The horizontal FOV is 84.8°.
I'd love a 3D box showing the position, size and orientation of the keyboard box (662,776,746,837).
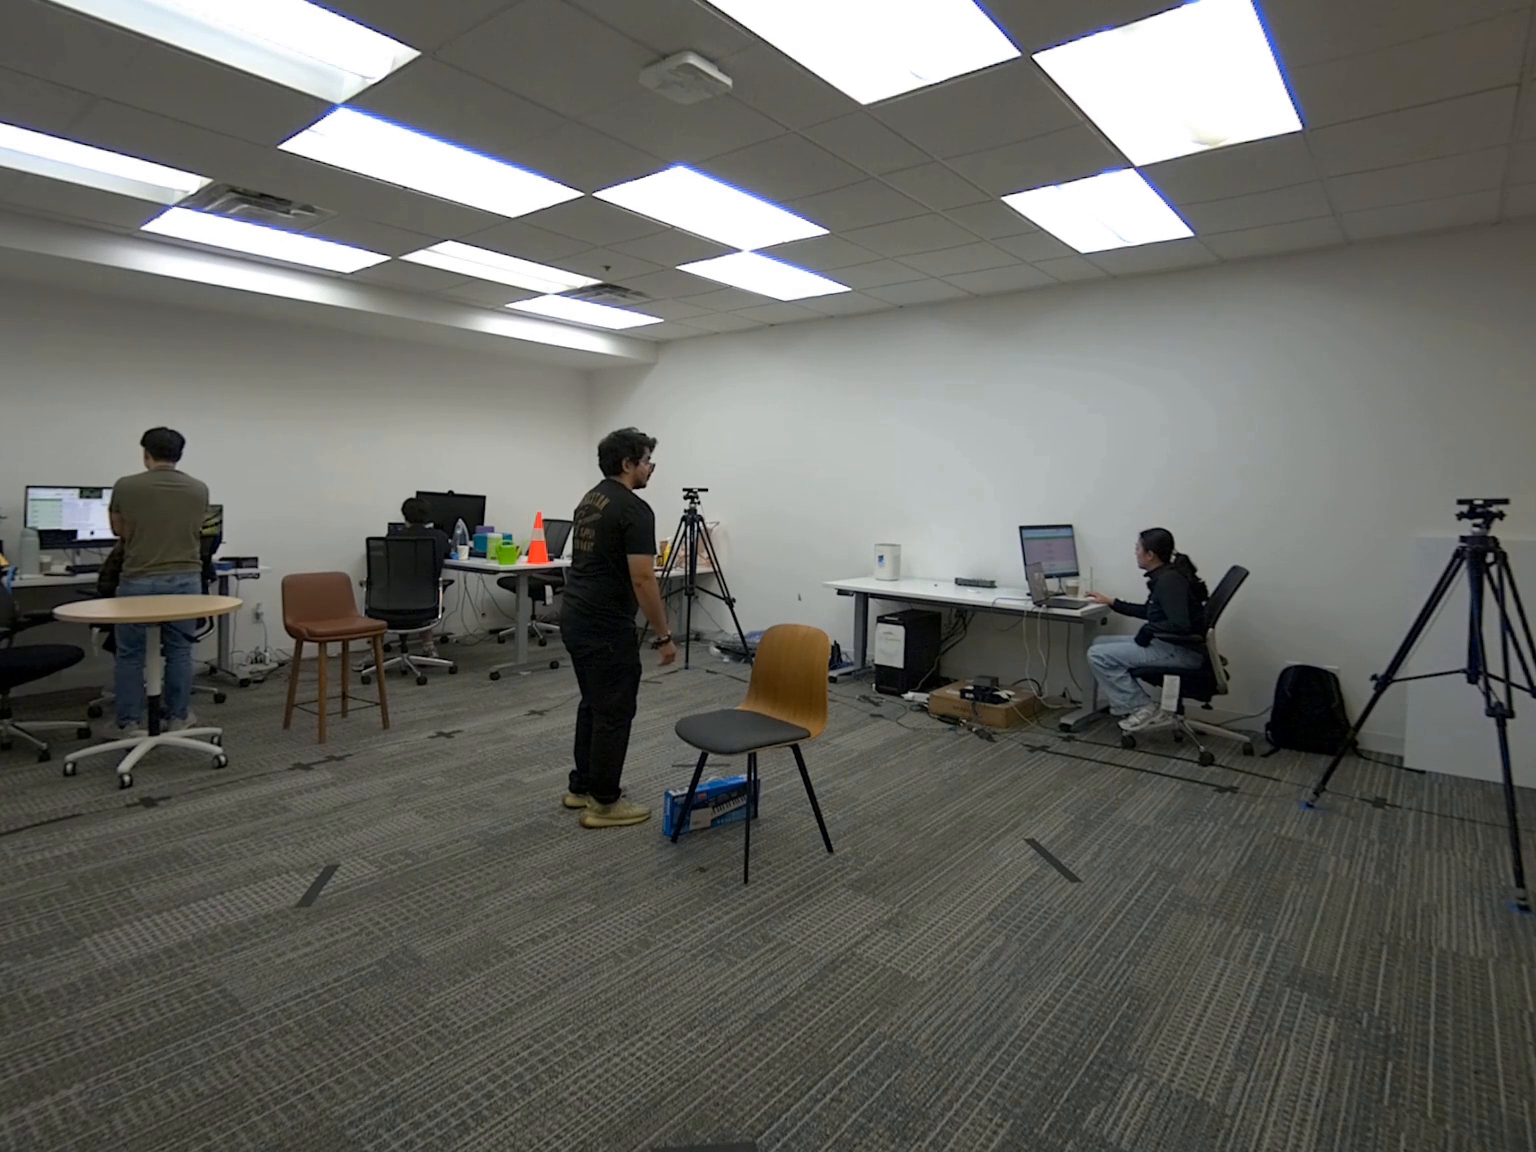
[{"bbox_3d":[-0.241,0.948,3.524,0.424,0.174,0.061,-3,10,-34],"label":"keyboard box"}]
